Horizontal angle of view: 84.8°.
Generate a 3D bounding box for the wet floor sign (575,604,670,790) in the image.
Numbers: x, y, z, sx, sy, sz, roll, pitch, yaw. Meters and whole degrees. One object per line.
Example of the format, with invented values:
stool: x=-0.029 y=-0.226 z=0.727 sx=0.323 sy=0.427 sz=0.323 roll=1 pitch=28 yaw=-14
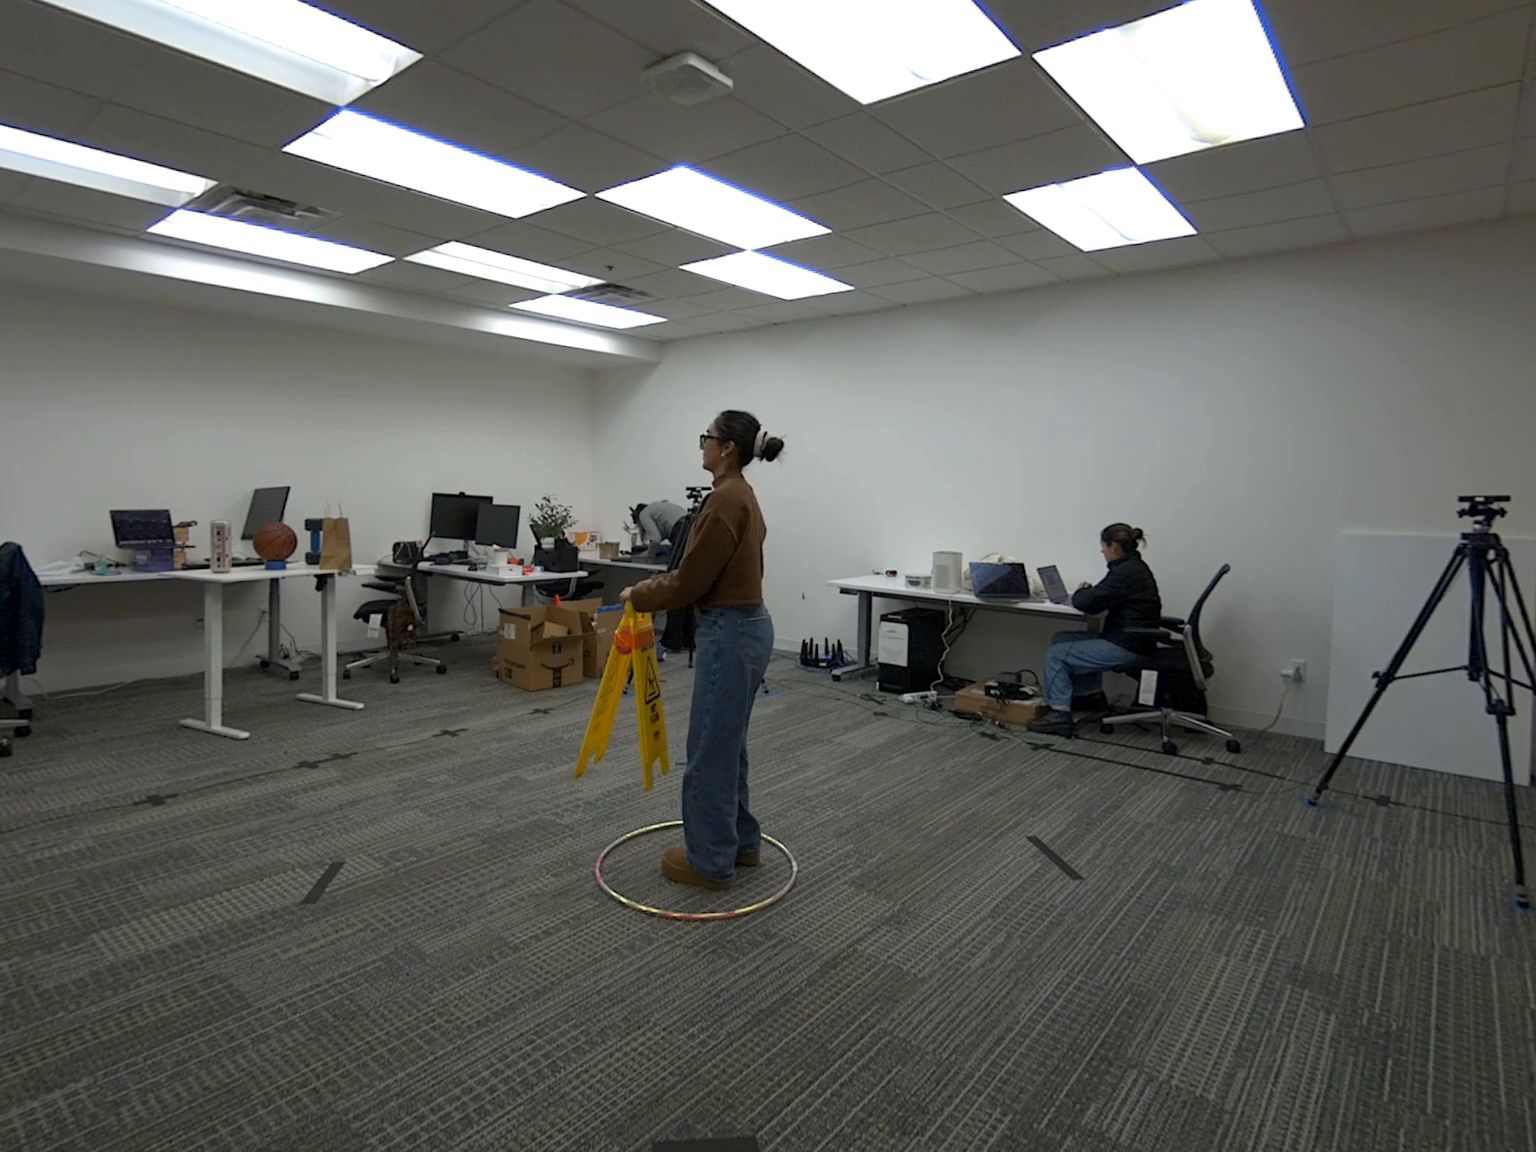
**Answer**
wet floor sign: x=-0.506 y=0.395 z=3.058 sx=0.293 sy=0.645 sz=0.279 roll=4 pitch=1 yaw=10
